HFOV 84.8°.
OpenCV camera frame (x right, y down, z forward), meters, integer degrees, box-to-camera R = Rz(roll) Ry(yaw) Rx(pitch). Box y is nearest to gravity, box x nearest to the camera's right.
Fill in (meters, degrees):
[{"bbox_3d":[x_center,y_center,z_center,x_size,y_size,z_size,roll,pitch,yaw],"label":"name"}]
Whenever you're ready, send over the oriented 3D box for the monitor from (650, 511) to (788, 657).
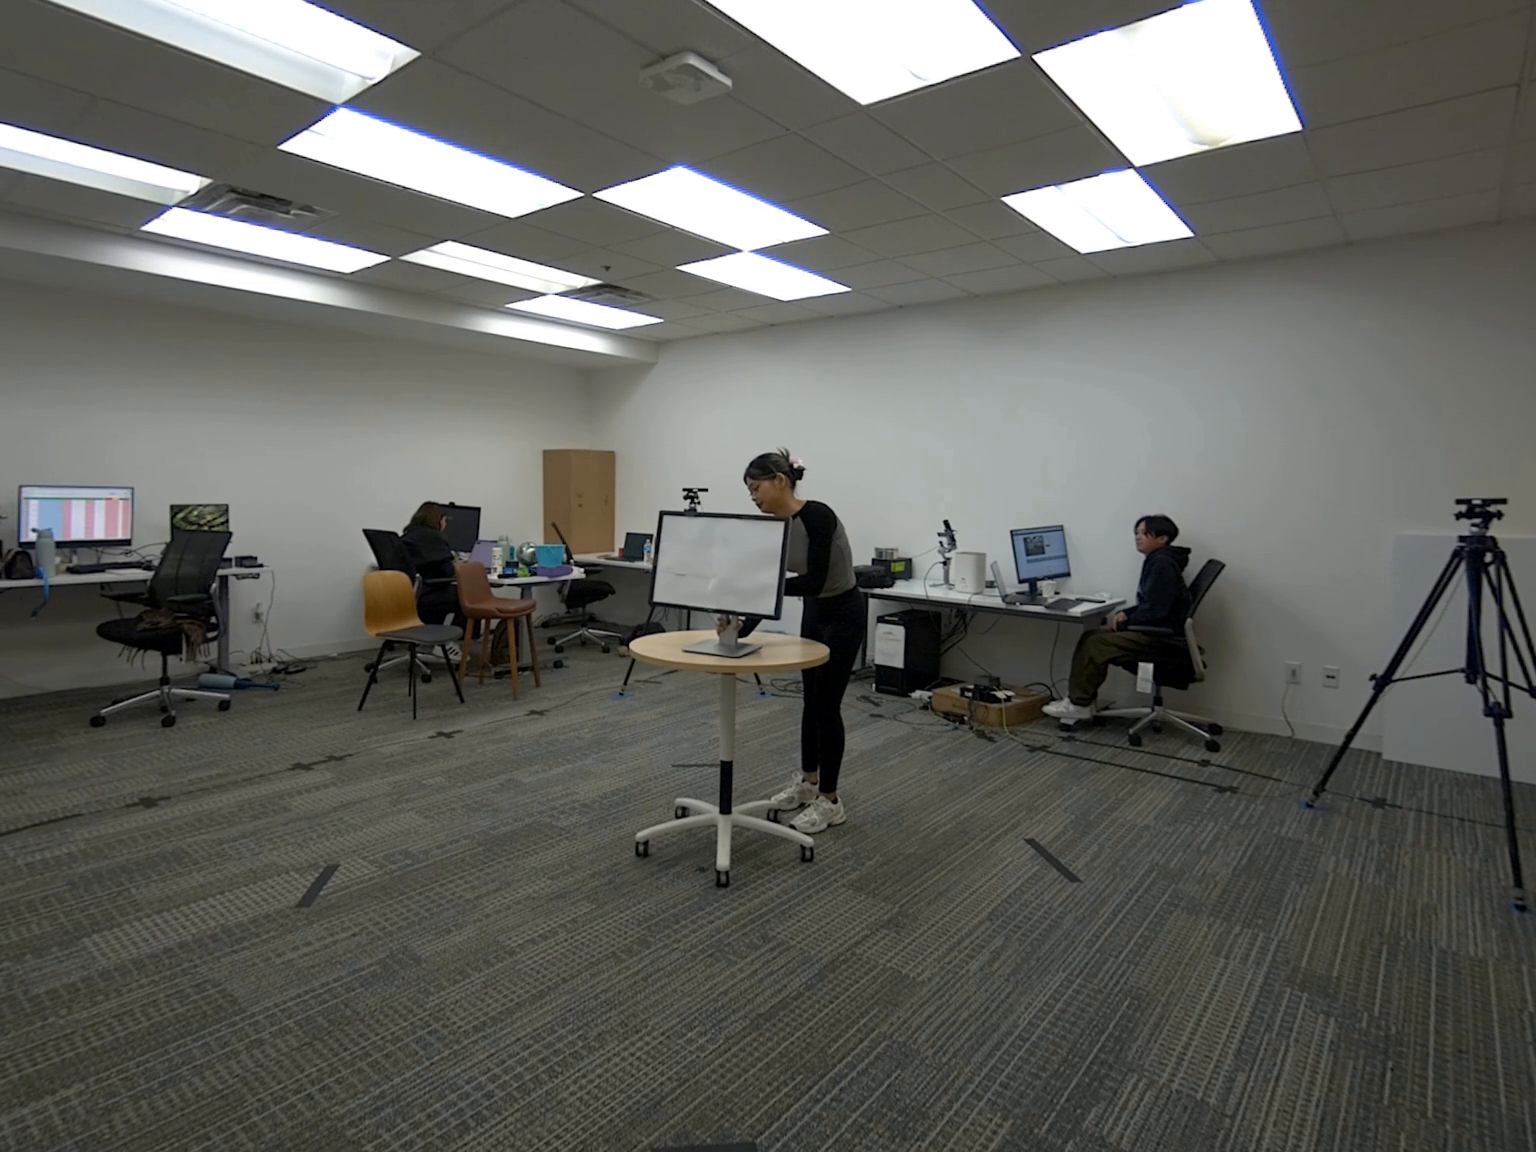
[{"bbox_3d":[-0.172,0.028,3.134,0.555,0.519,0.183,4,9,30],"label":"monitor"}]
